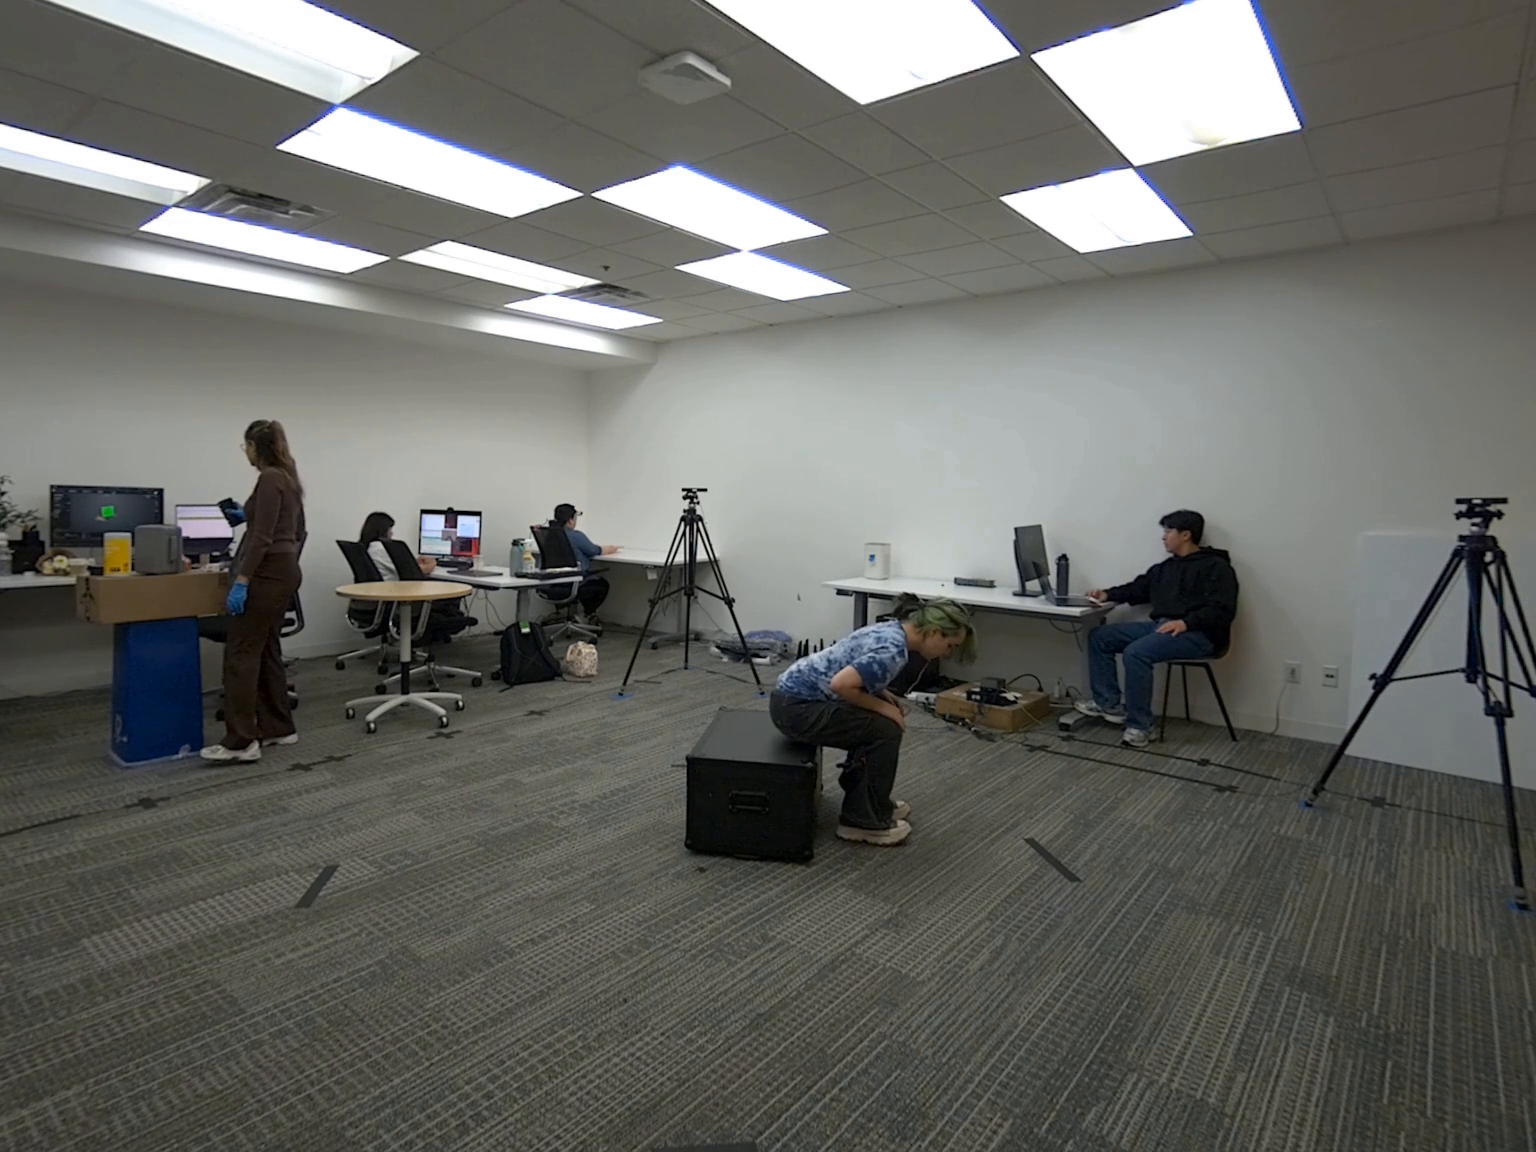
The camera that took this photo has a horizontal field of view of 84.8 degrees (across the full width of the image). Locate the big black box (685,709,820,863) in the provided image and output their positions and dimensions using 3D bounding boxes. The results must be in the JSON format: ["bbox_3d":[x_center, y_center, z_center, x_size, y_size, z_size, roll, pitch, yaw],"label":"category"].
[{"bbox_3d":[-0.038,0.835,3.587,0.526,0.394,0.857,2,6,7],"label":"big black box"}]
